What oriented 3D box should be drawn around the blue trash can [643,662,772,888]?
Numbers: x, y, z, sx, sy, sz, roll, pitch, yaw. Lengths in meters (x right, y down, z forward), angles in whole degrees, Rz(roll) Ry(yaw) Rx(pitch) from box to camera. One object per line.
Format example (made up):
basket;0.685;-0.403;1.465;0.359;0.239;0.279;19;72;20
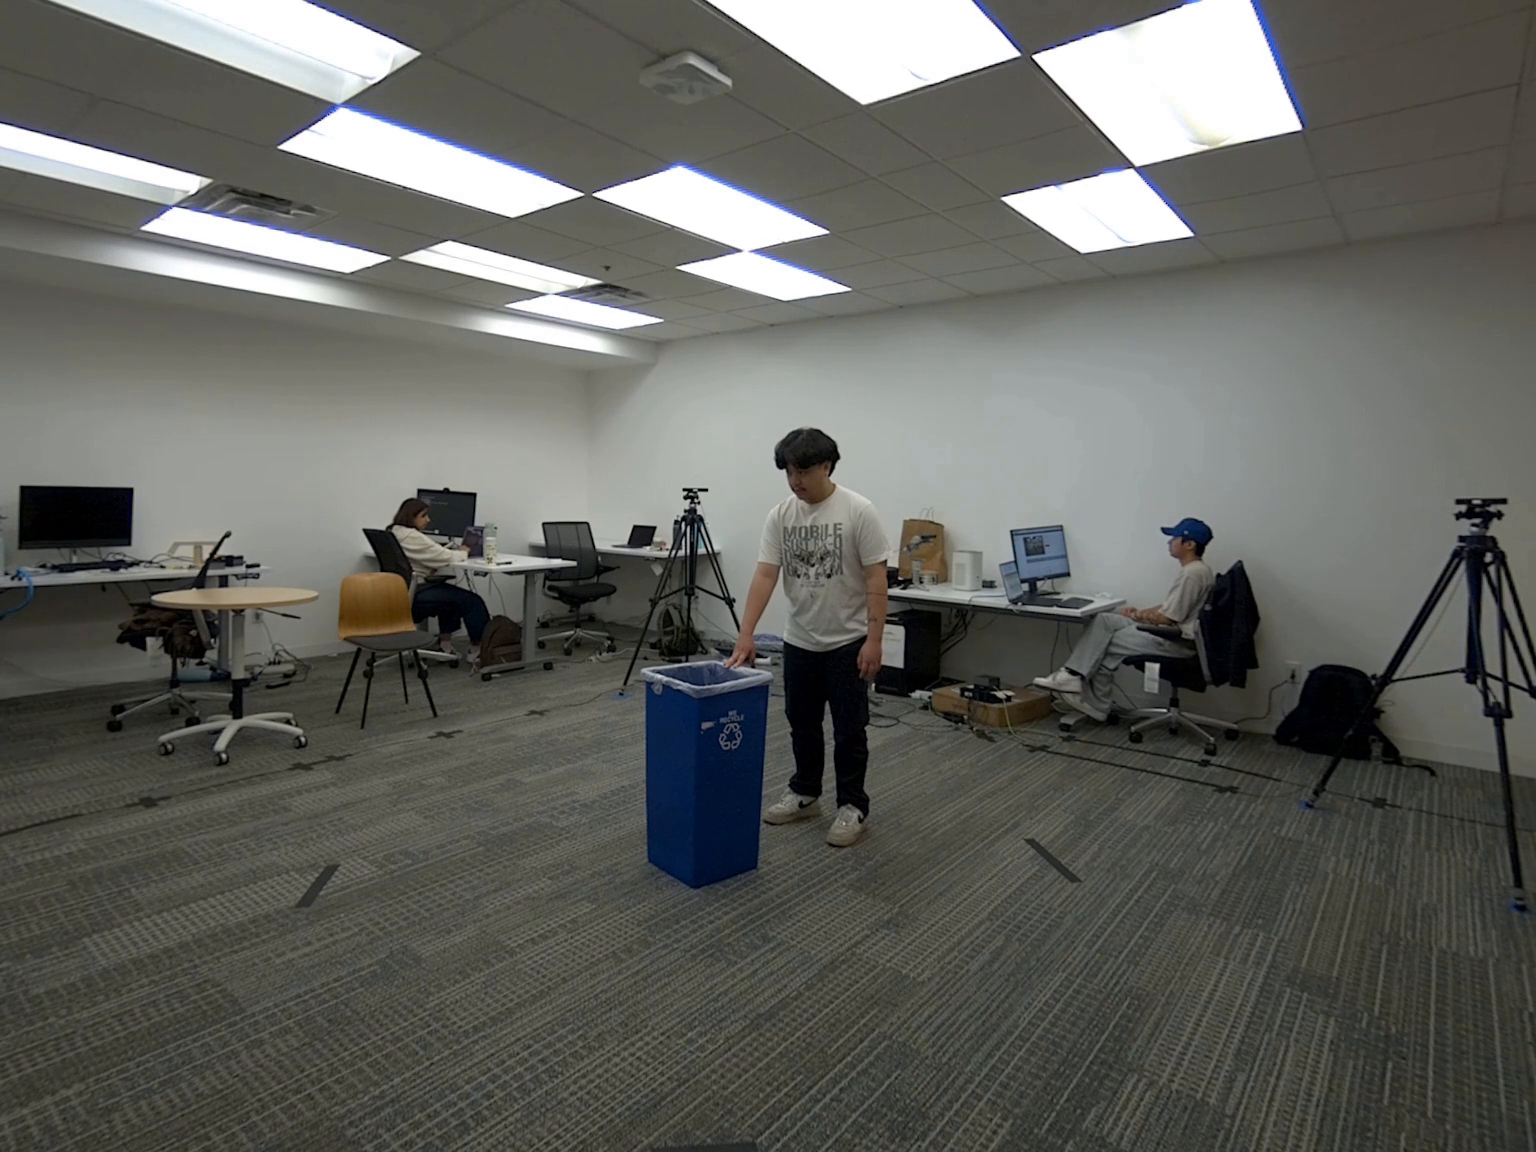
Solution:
blue trash can;-0.240;0.708;3.145;0.363;0.711;0.391;-2;4;-41
